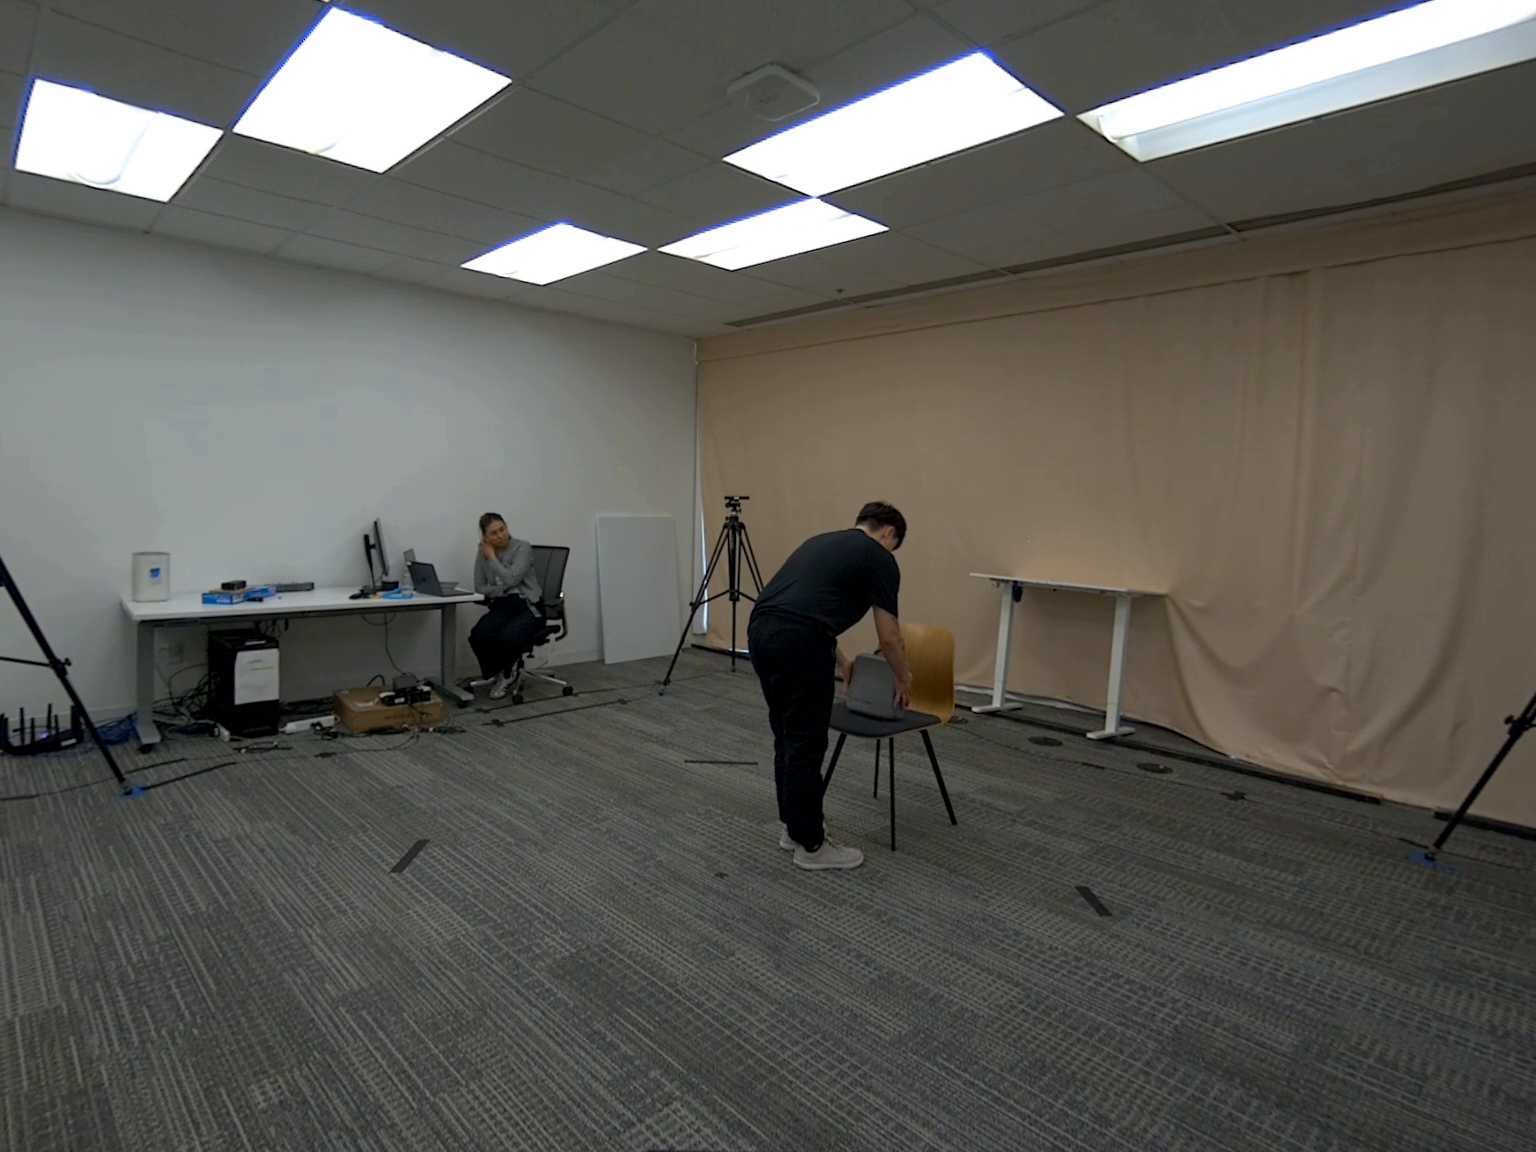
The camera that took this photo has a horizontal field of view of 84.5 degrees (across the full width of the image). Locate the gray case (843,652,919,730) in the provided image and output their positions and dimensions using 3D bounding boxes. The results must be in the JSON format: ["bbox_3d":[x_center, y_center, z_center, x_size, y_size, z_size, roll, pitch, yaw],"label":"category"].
[{"bbox_3d":[0.474,0.479,3.588,0.102,0.261,0.262,23,-8,-28],"label":"gray case"}]
